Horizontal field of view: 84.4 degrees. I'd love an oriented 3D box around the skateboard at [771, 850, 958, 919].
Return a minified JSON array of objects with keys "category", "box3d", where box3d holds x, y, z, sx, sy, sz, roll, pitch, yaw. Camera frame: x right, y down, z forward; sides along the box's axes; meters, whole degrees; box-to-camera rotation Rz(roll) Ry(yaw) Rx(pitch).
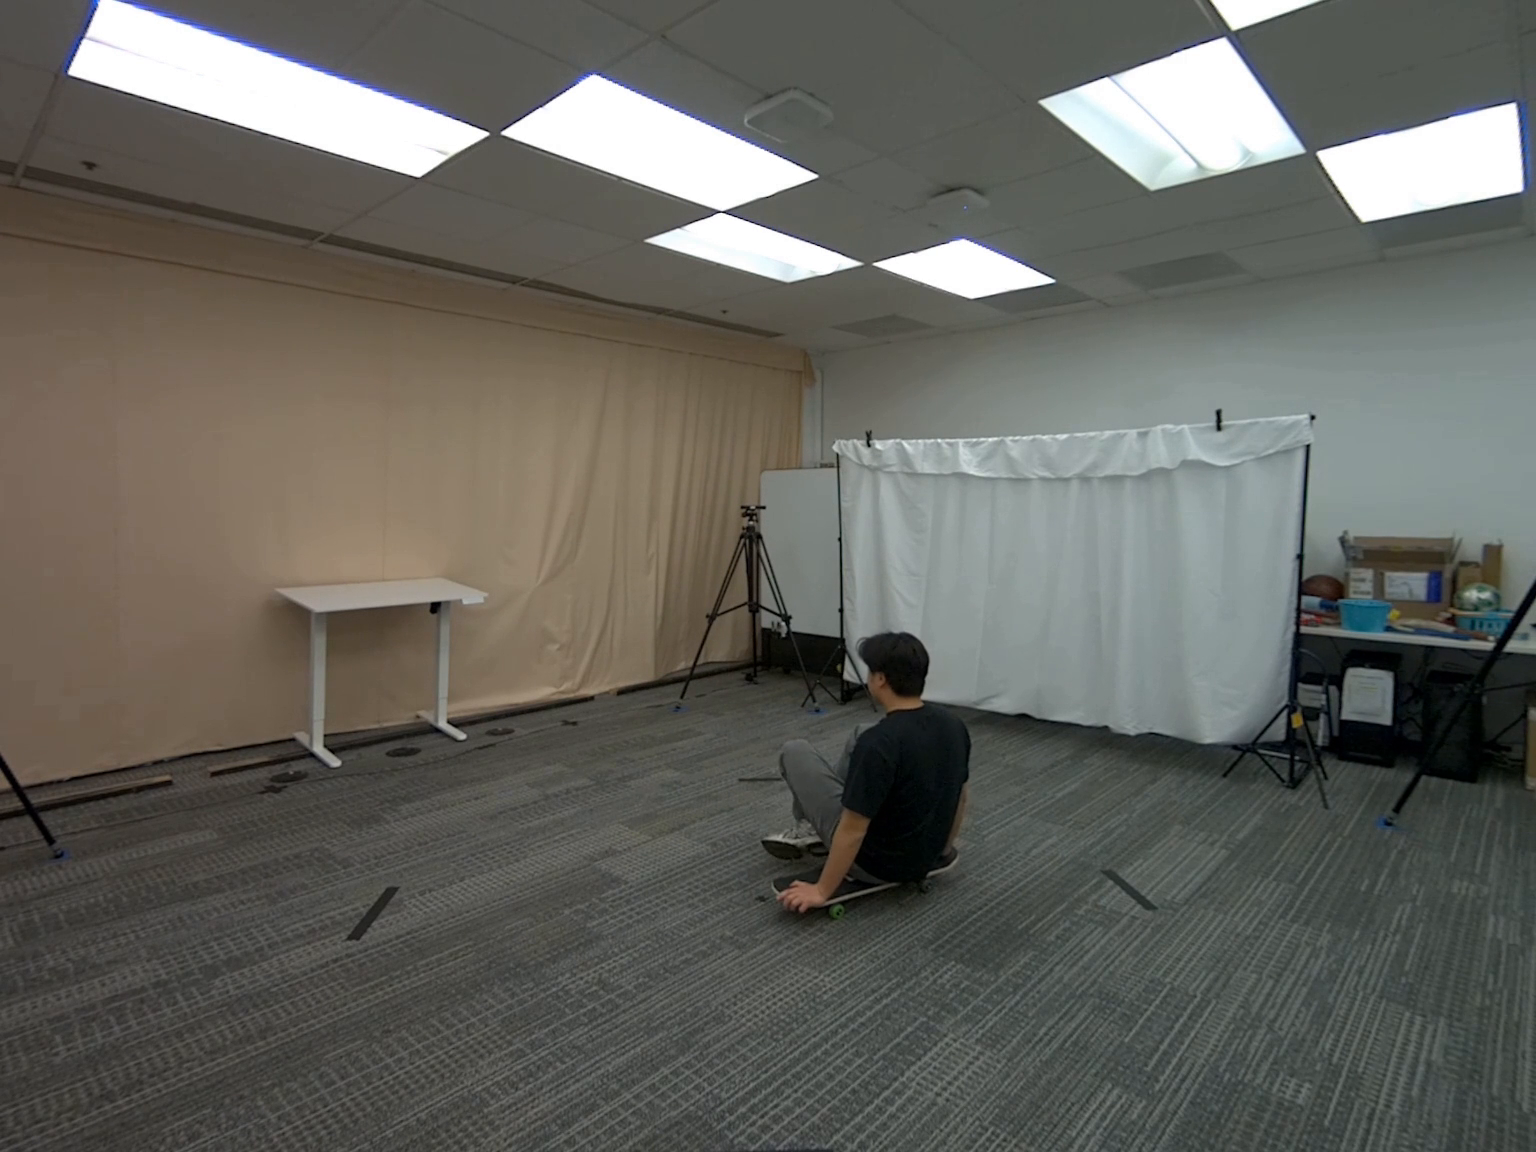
[{"category":"skateboard","box3d":[0.361,1.089,3.001,0.765,0.110,0.199,-2,8,-28]}]
